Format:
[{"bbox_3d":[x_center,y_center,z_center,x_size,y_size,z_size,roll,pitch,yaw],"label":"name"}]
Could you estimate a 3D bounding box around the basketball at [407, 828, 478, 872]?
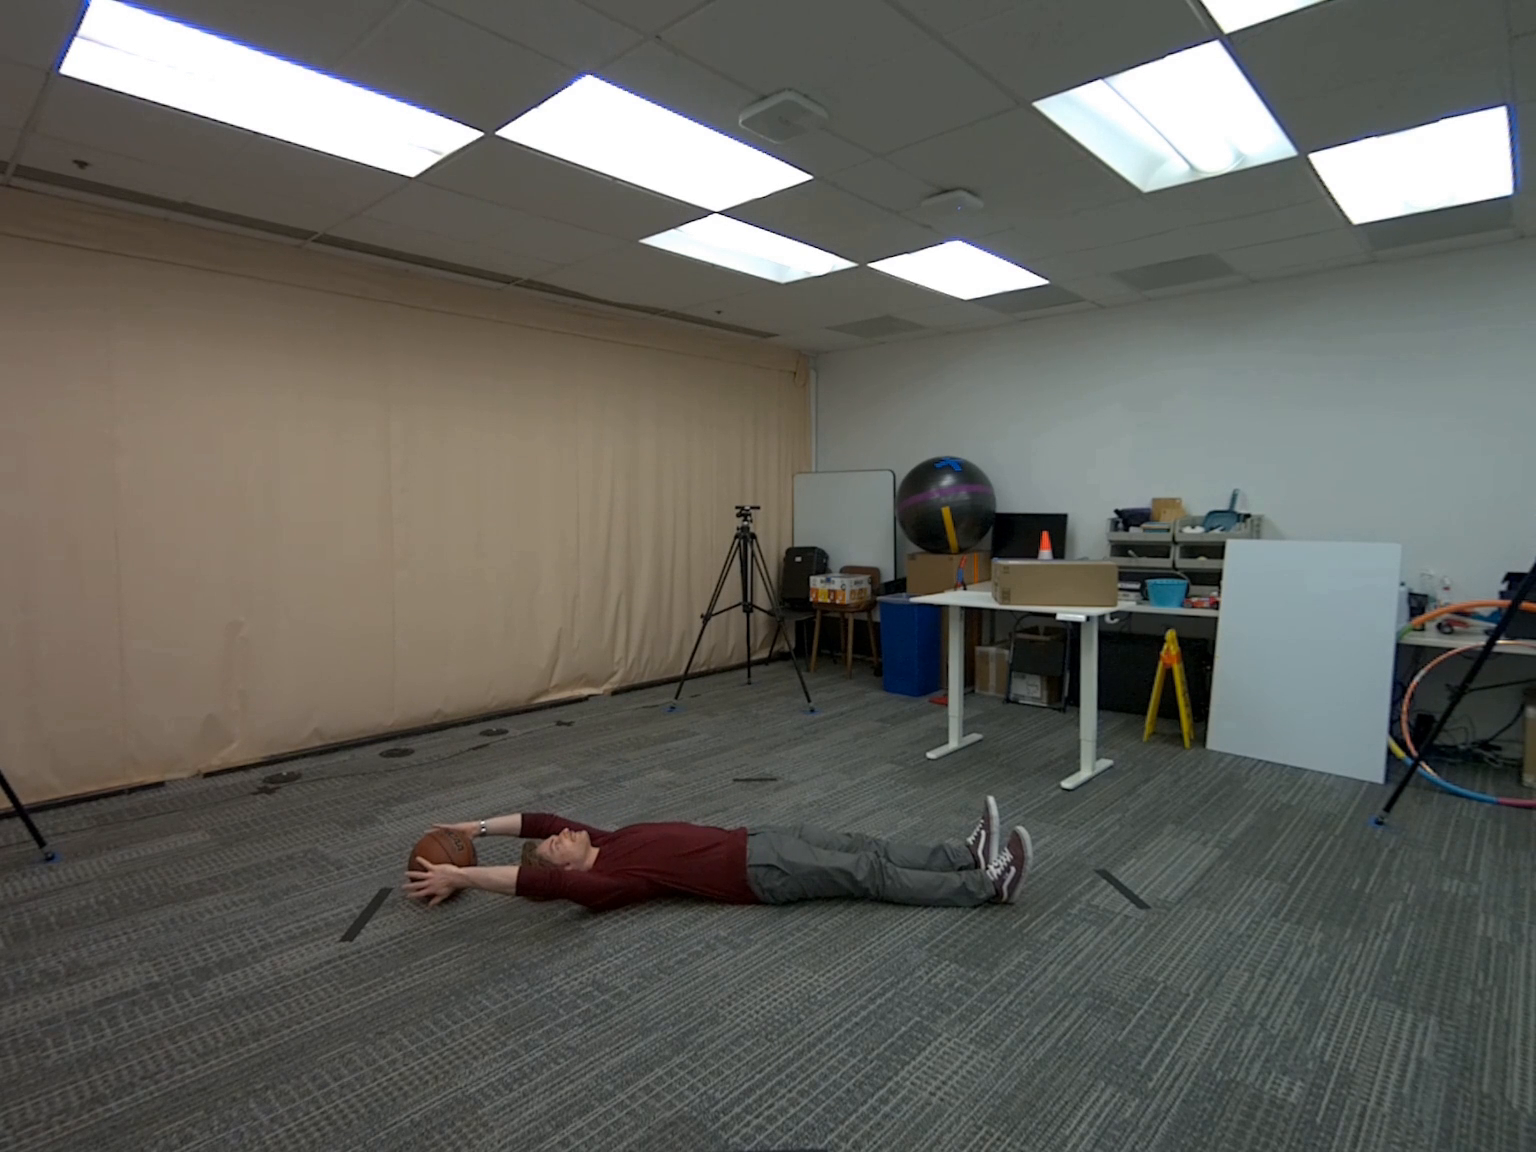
[{"bbox_3d":[-1.168,1.033,3.011,0.236,0.235,0.237,0,4,-2],"label":"basketball"}]
